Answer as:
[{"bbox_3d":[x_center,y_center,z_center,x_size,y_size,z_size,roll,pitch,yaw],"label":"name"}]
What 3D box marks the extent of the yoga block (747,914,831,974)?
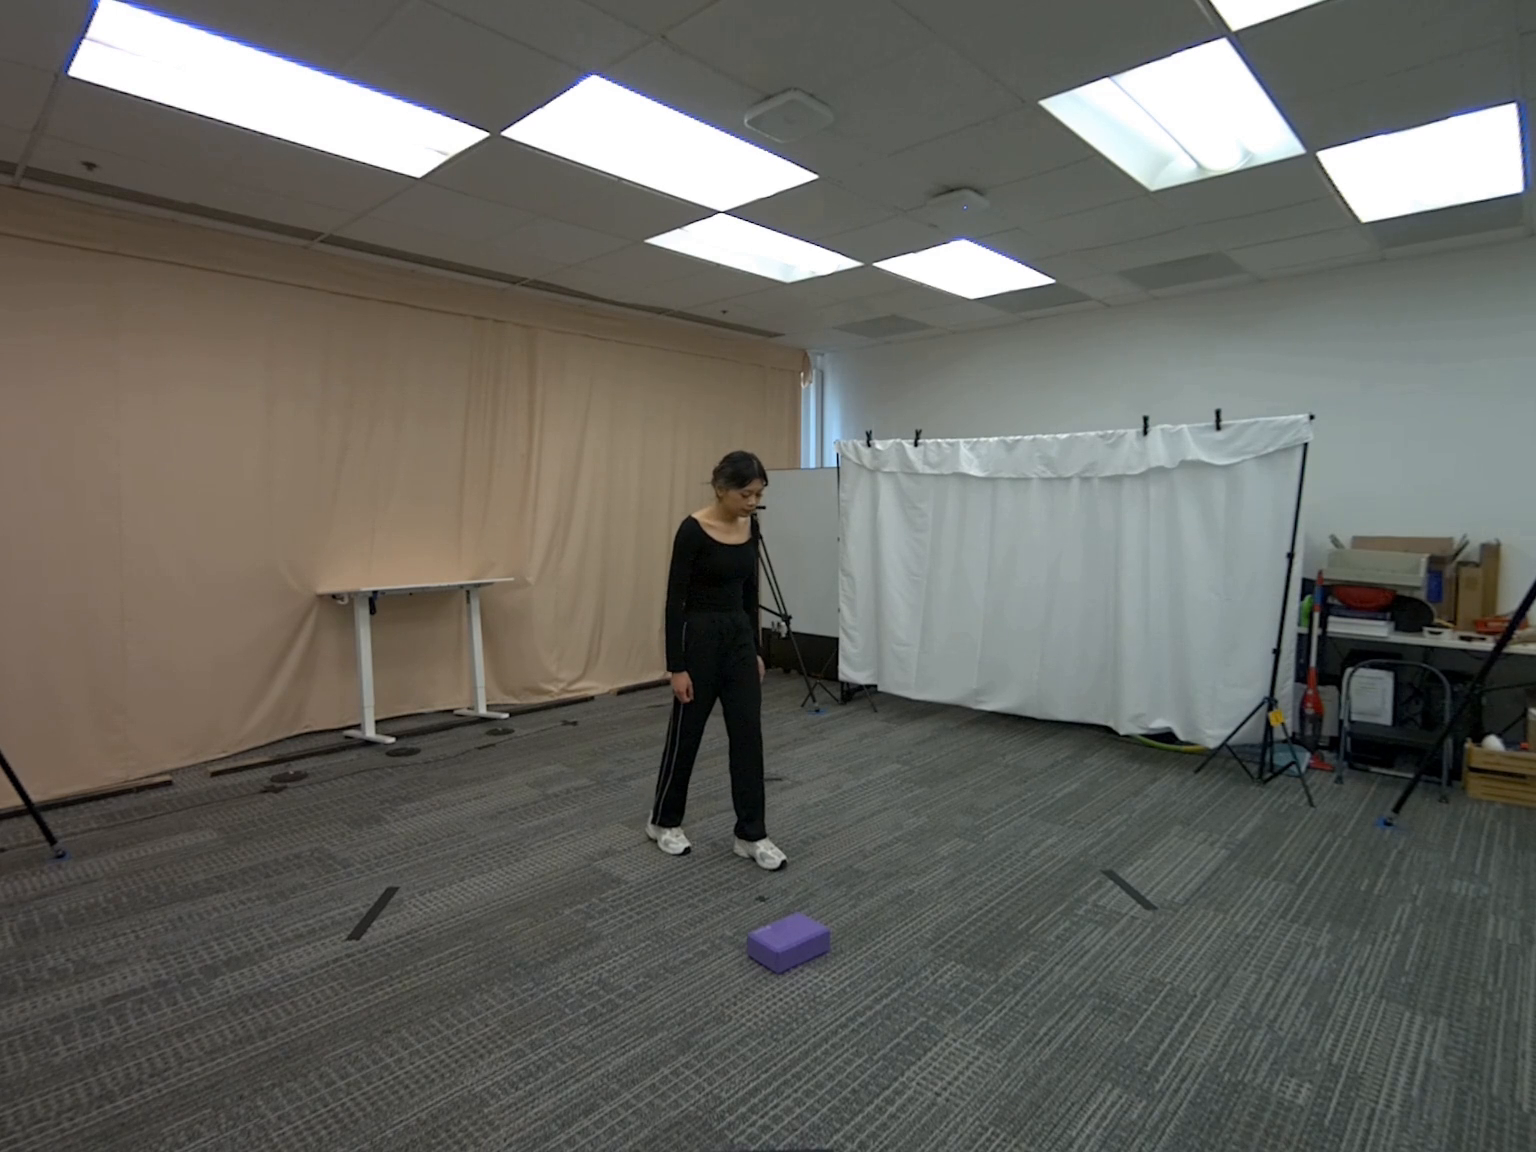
[{"bbox_3d":[0.070,1.135,2.613,0.222,0.076,0.154,-4,6,-40],"label":"yoga block"}]
